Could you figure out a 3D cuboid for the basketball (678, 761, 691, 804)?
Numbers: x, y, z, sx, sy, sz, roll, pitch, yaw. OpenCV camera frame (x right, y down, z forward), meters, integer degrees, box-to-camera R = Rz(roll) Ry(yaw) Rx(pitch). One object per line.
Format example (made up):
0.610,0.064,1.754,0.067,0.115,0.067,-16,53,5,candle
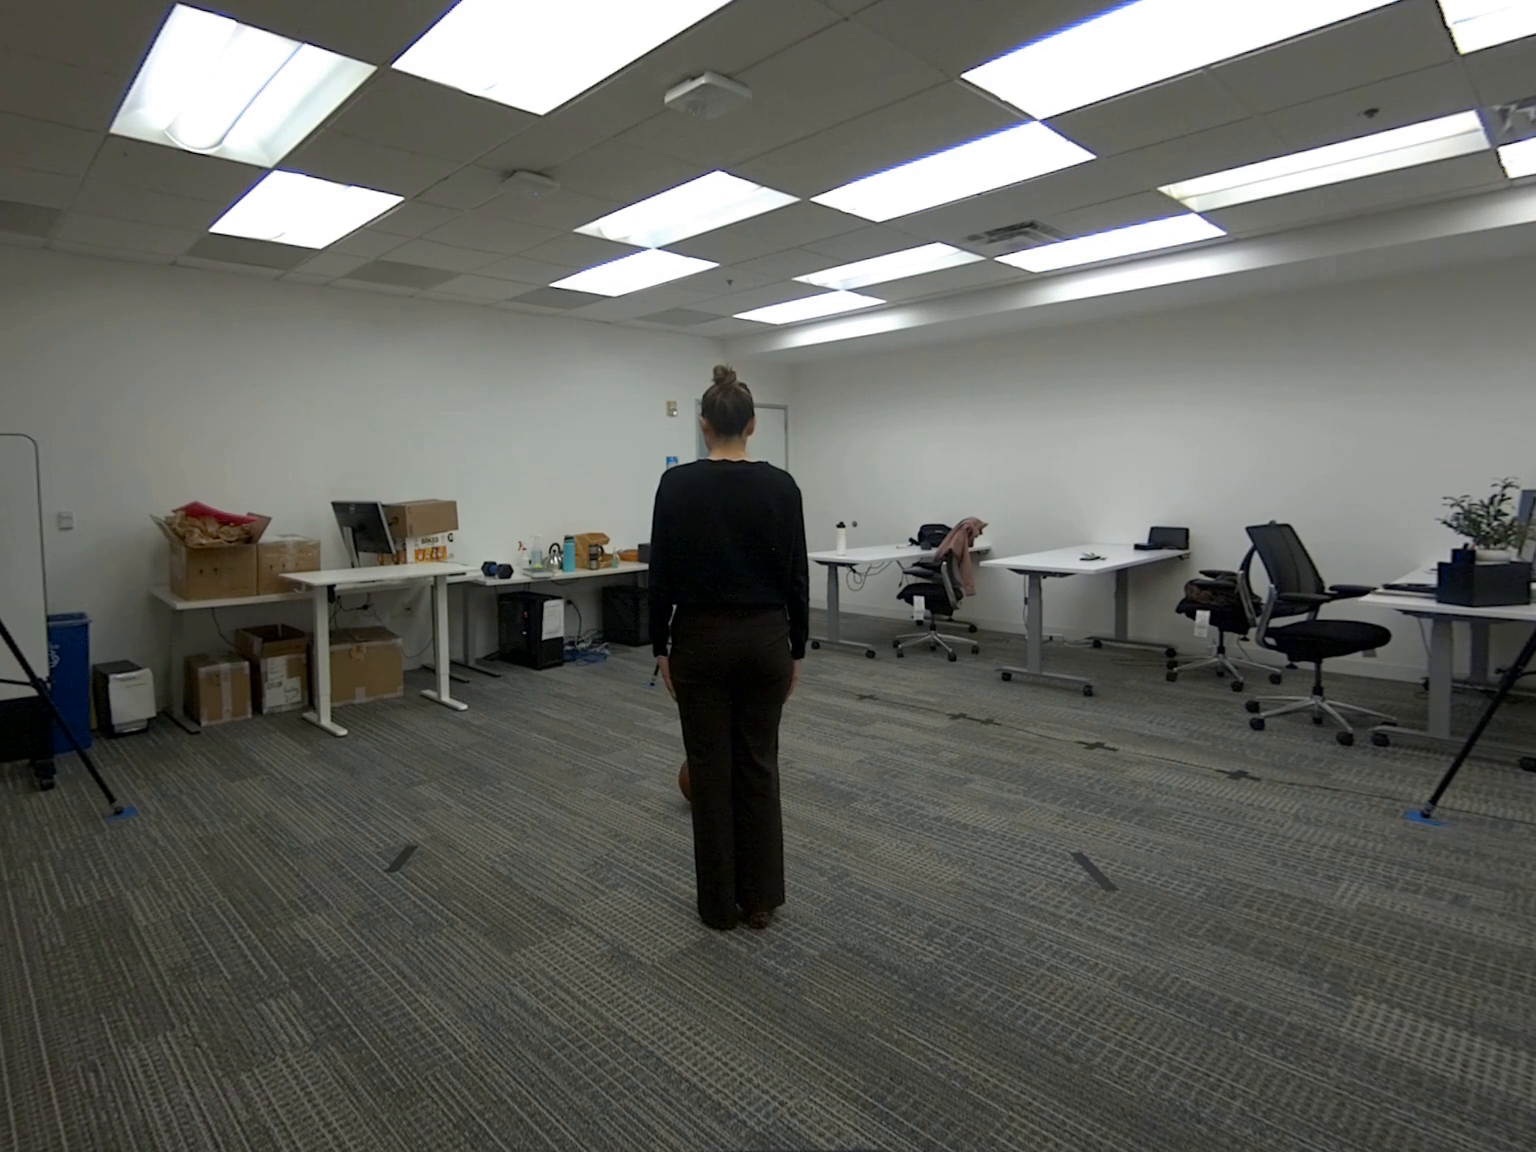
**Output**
-0.259,0.870,3.662,0.236,0.235,0.237,-1,5,-2,basketball
